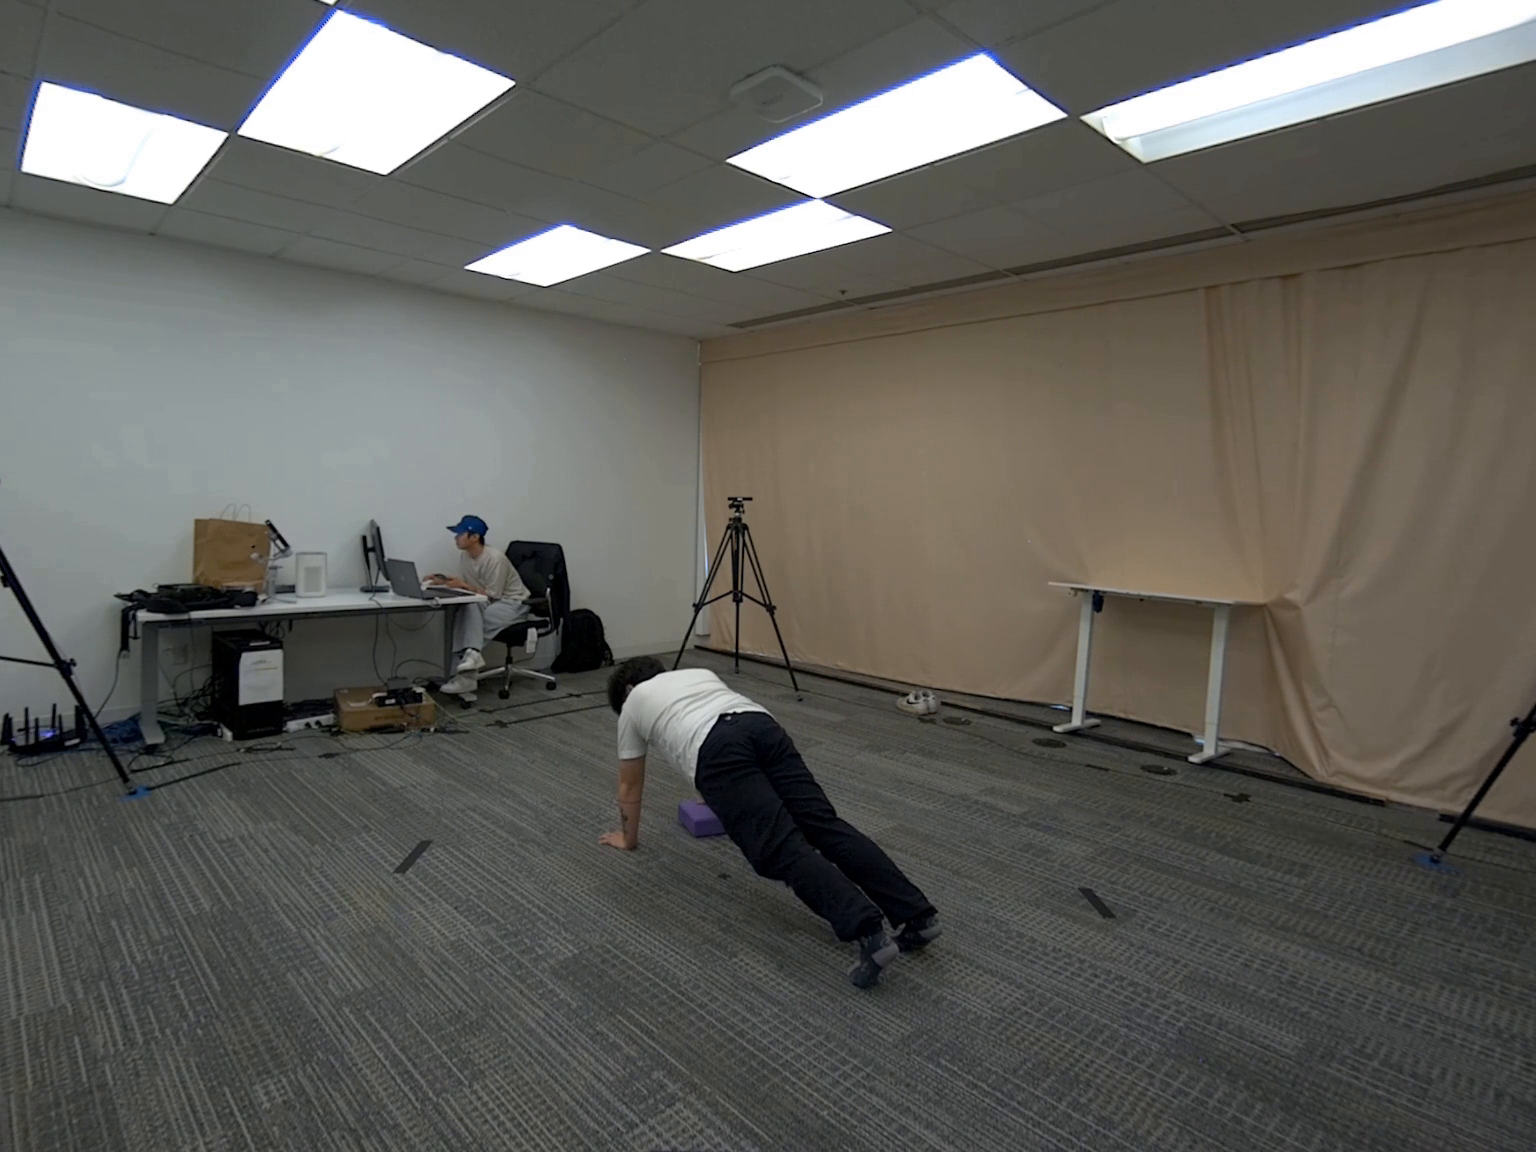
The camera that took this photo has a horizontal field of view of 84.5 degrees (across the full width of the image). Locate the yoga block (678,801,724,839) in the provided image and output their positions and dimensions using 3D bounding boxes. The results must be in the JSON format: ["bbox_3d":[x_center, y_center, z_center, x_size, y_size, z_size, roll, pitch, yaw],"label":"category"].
[{"bbox_3d":[-0.287,1.025,3.561,0.146,0.076,0.233,0,4,-22],"label":"yoga block"}]
